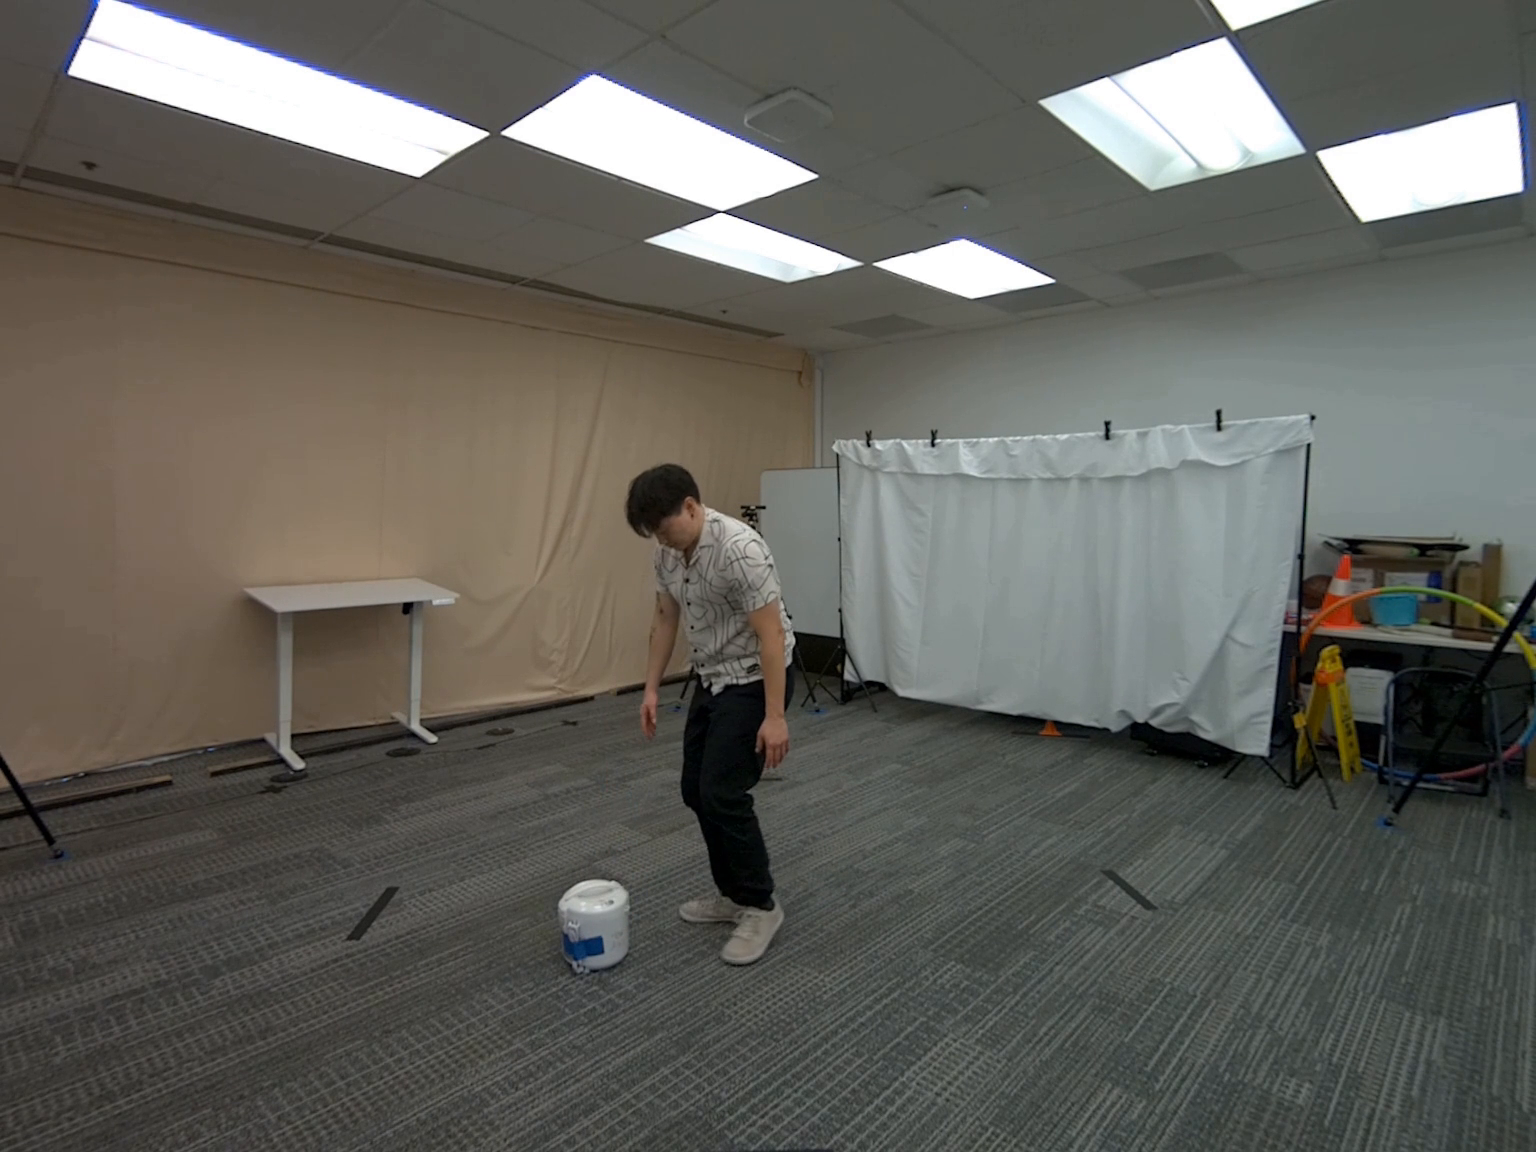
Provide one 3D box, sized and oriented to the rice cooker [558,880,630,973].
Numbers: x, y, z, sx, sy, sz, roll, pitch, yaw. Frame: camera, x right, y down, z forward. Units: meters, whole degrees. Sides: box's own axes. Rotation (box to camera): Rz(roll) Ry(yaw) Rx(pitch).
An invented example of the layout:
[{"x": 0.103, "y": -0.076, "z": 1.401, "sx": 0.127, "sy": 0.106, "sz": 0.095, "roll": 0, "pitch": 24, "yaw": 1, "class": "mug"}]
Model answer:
[{"x": -0.534, "y": 1.060, "z": 2.611, "sx": 0.215, "sy": 0.232, "sz": 0.223, "roll": -2, "pitch": 5, "yaw": -25, "class": "rice cooker"}]
